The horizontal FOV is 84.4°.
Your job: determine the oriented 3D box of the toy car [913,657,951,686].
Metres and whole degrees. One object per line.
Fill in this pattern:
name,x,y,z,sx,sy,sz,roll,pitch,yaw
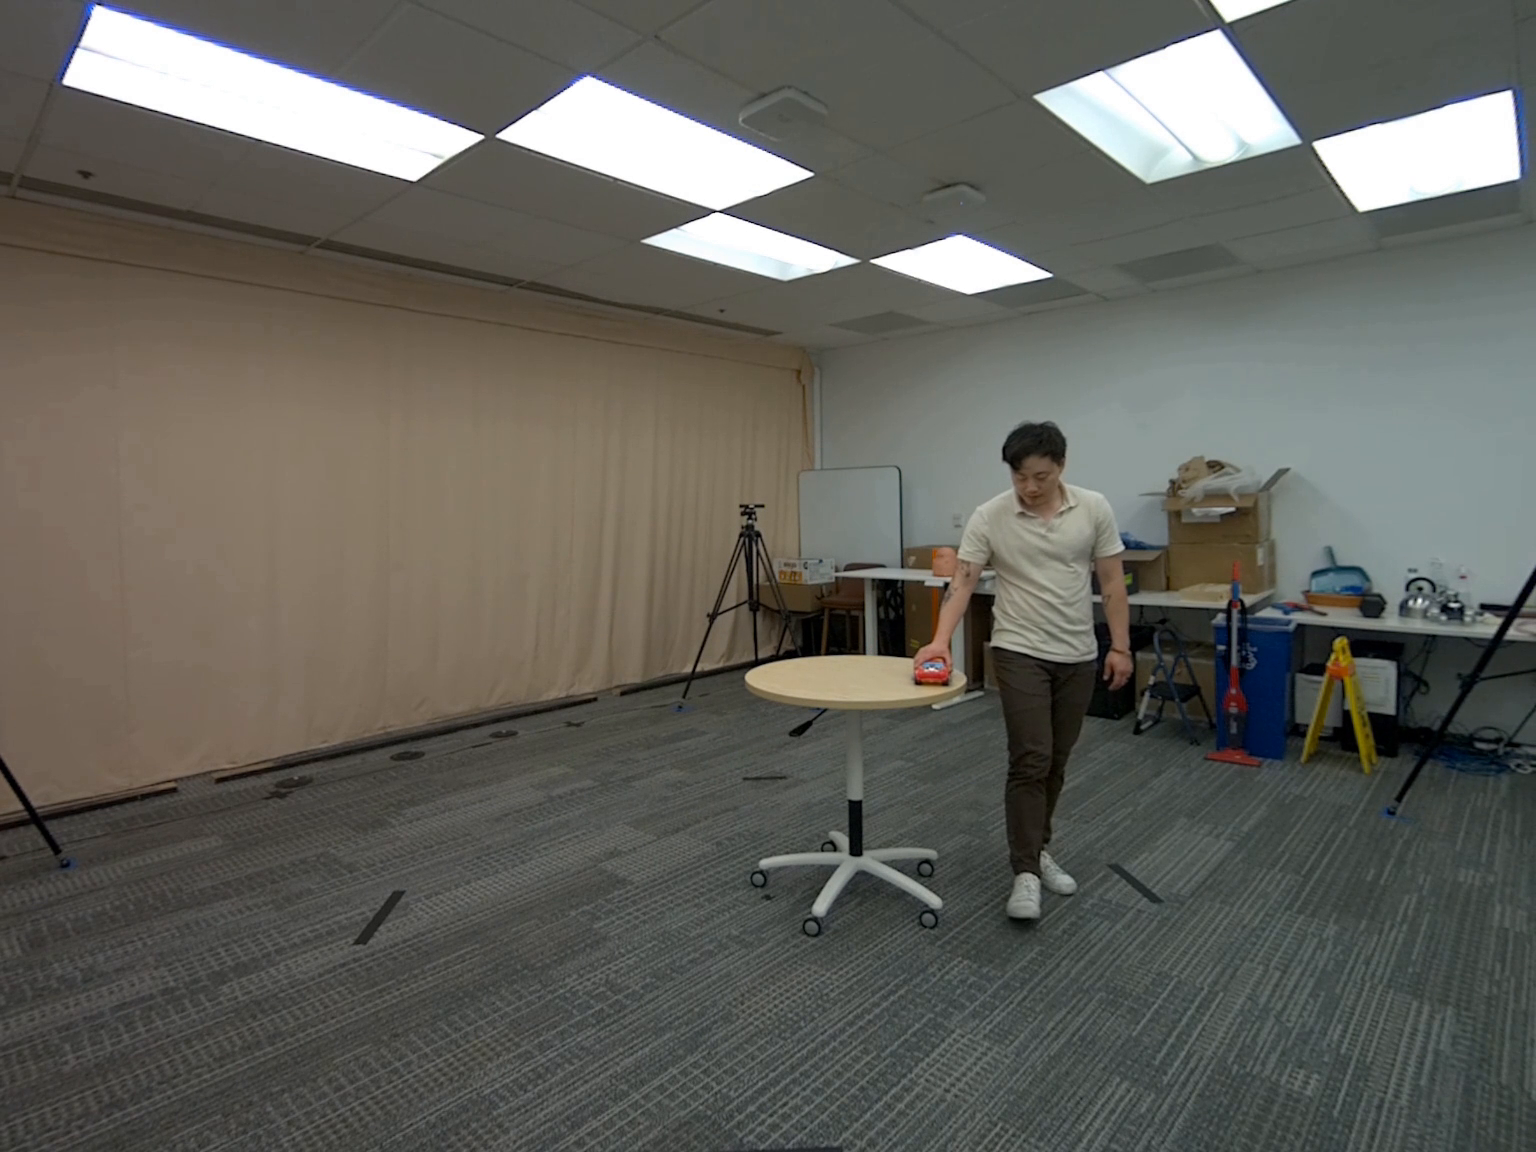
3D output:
toy car,0.573,0.320,2.879,0.132,0.082,0.254,0,19,13
